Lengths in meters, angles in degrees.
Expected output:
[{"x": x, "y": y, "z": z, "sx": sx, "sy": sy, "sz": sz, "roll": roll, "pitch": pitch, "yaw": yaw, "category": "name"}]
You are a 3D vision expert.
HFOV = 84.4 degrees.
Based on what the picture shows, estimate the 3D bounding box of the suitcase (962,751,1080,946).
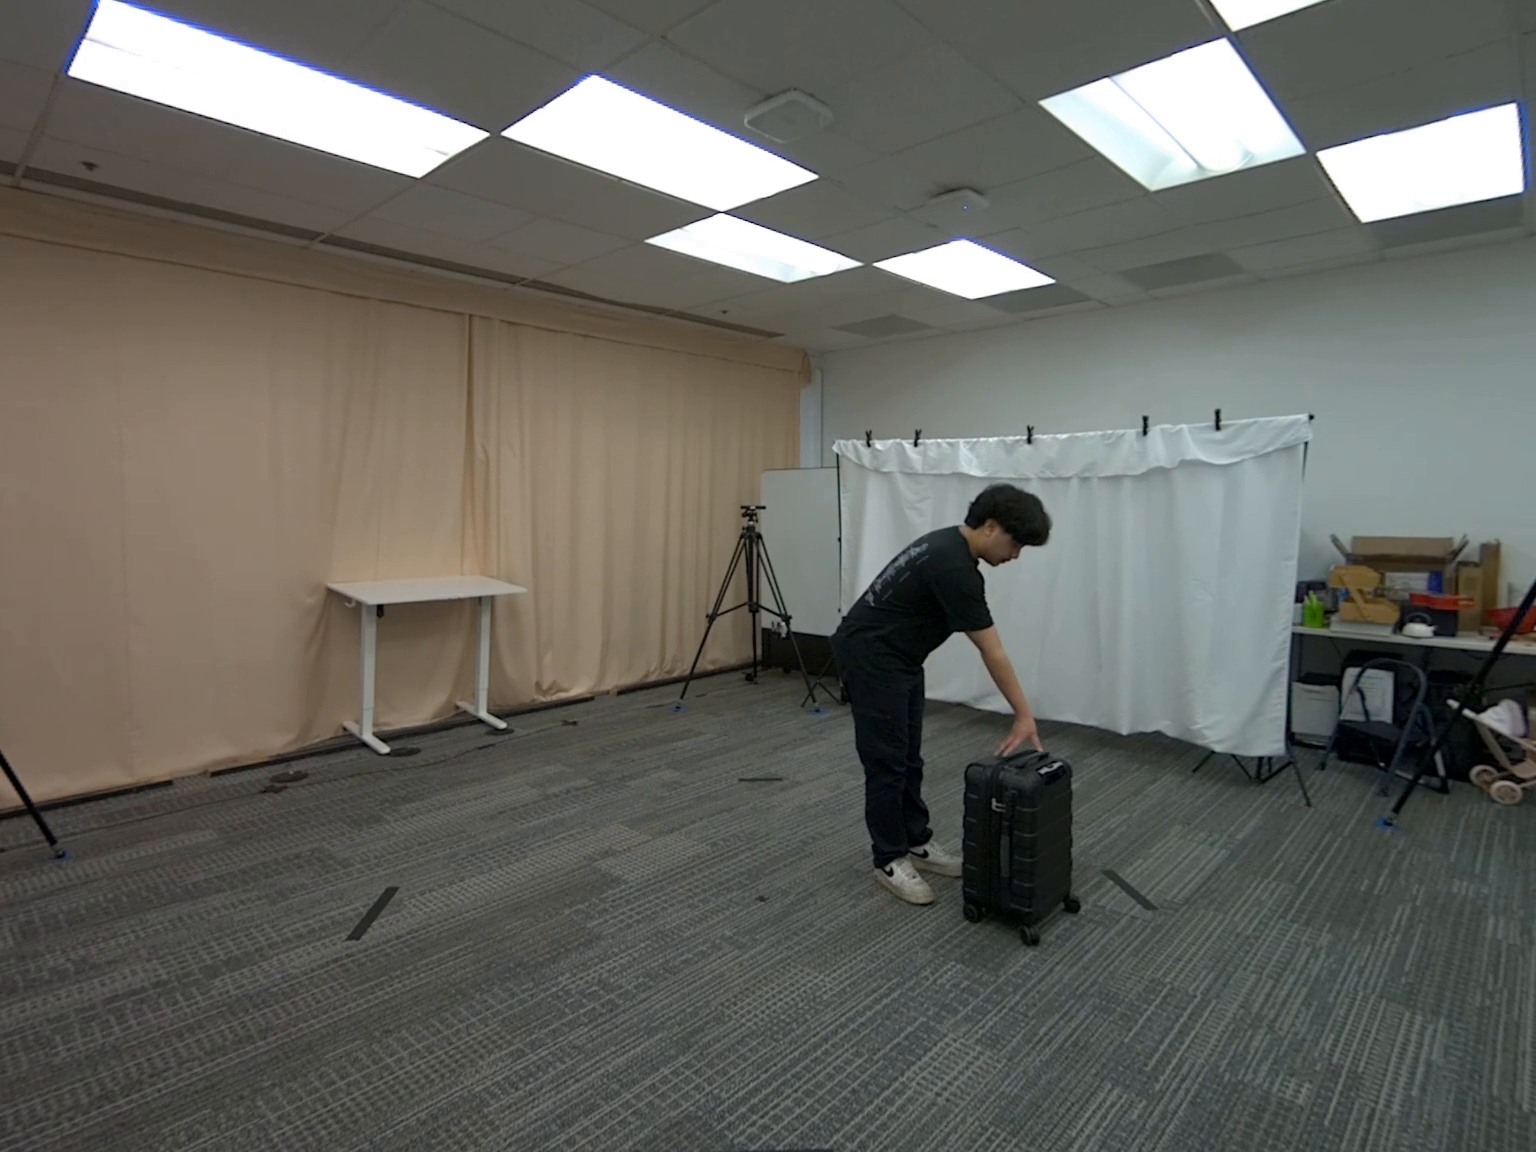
[{"x": 0.862, "y": 0.880, "z": 2.849, "sx": 0.256, "sy": 0.548, "sz": 0.364, "roll": 1, "pitch": 4, "yaw": 44, "category": "suitcase"}]
